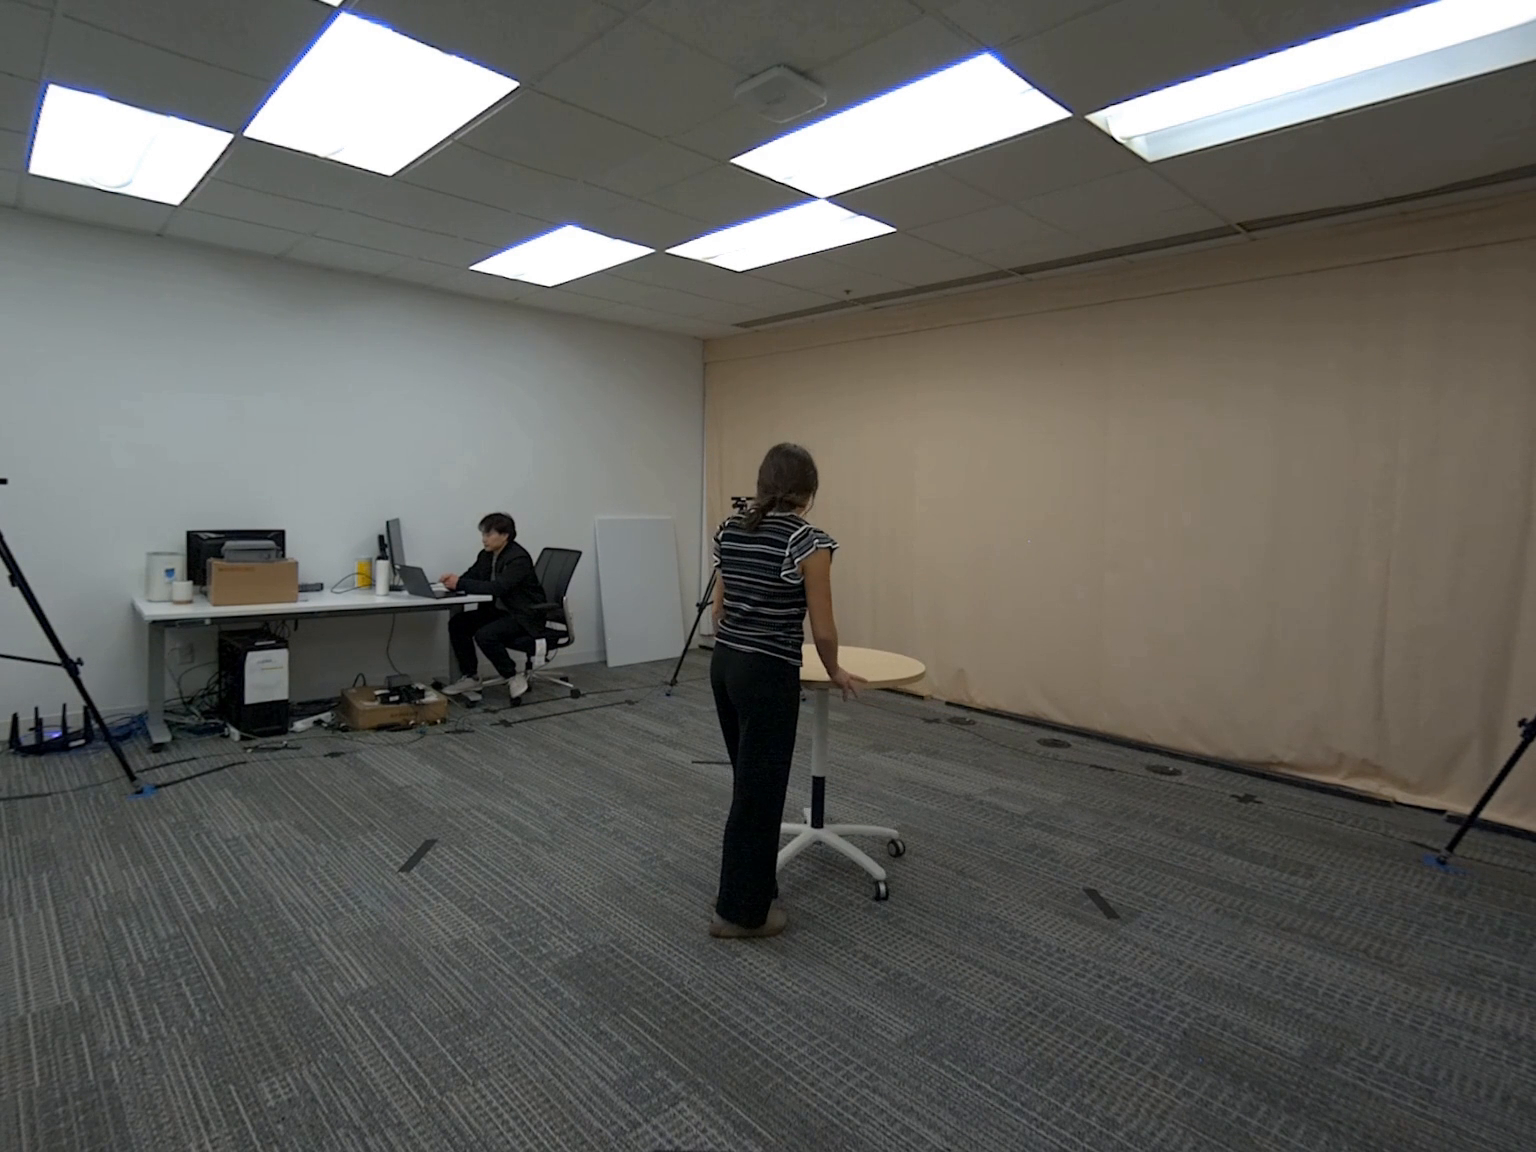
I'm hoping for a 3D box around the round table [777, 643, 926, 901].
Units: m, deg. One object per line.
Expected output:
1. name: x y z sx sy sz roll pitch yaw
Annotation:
1. round table: 0.196 0.709 3.232 0.784 0.785 0.787 2 3 -1
